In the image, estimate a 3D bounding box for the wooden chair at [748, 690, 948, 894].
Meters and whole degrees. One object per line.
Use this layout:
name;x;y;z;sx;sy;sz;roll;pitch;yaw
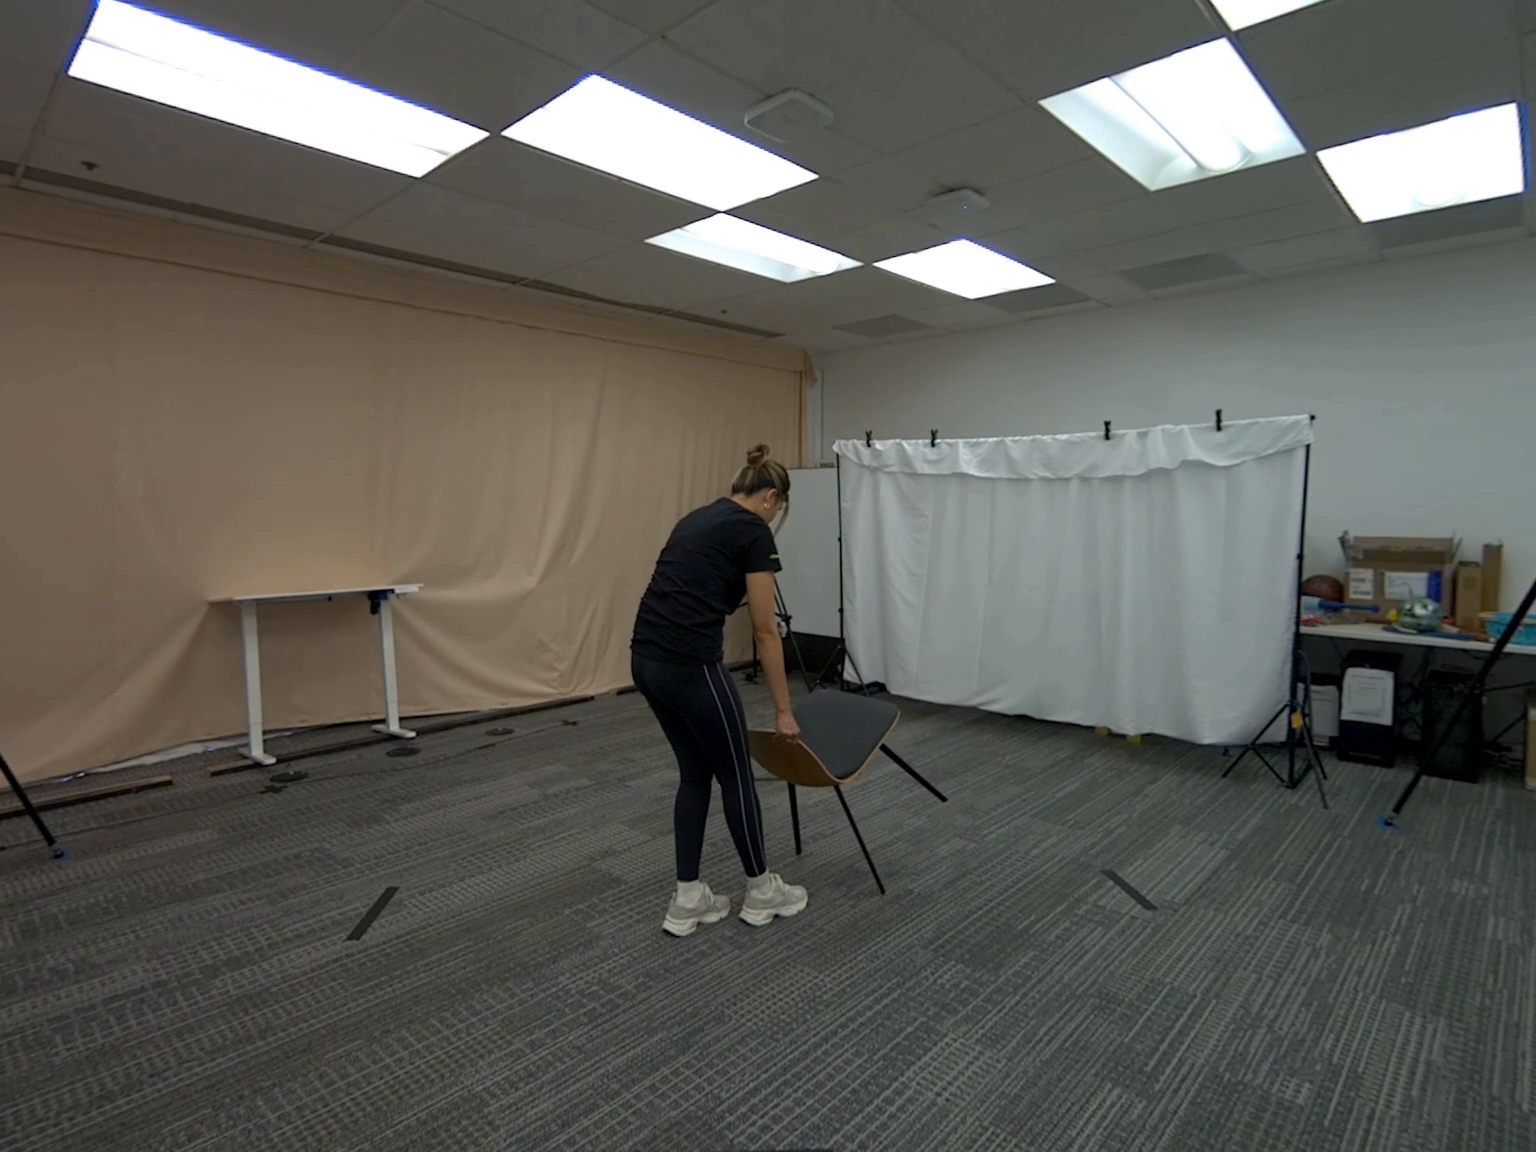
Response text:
wooden chair;0.228;0.642;3.125;0.494;0.854;0.520;5;45;50
